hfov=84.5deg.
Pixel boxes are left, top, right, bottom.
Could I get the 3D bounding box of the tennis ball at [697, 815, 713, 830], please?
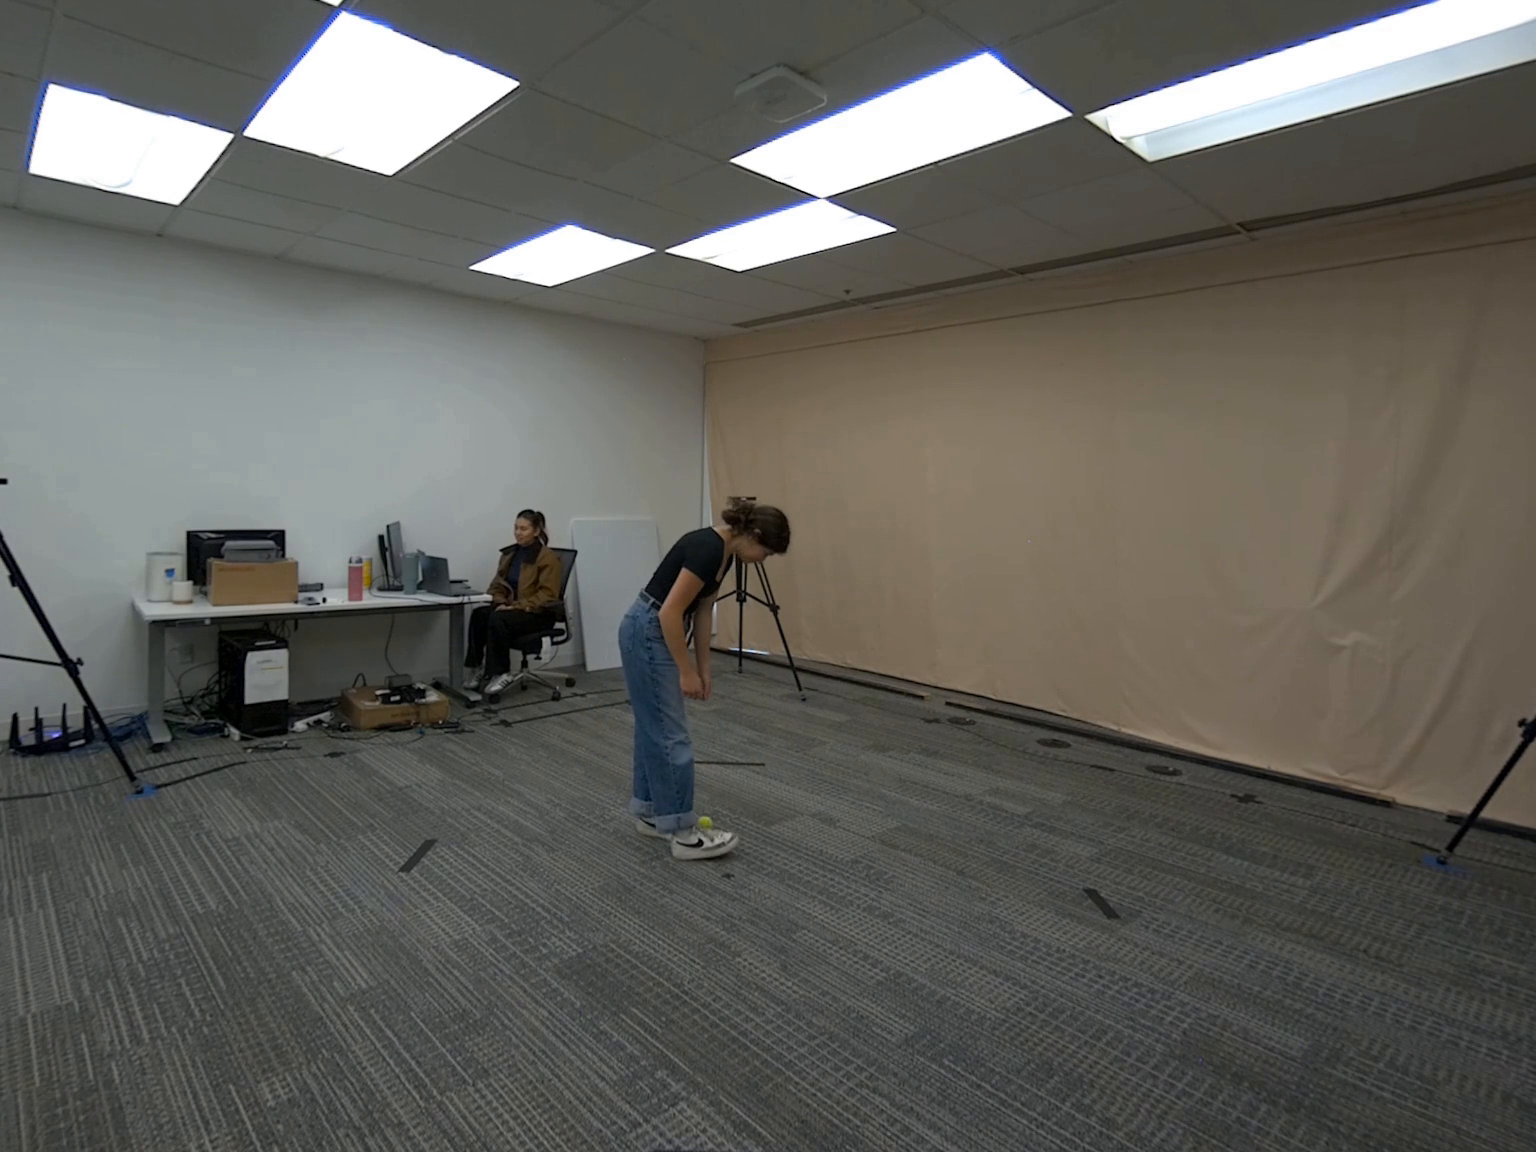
[{"bbox_3d":[-0.279,1.022,3.493,0.066,0.066,0.067,1,4,-1],"label":"tennis ball"}]
